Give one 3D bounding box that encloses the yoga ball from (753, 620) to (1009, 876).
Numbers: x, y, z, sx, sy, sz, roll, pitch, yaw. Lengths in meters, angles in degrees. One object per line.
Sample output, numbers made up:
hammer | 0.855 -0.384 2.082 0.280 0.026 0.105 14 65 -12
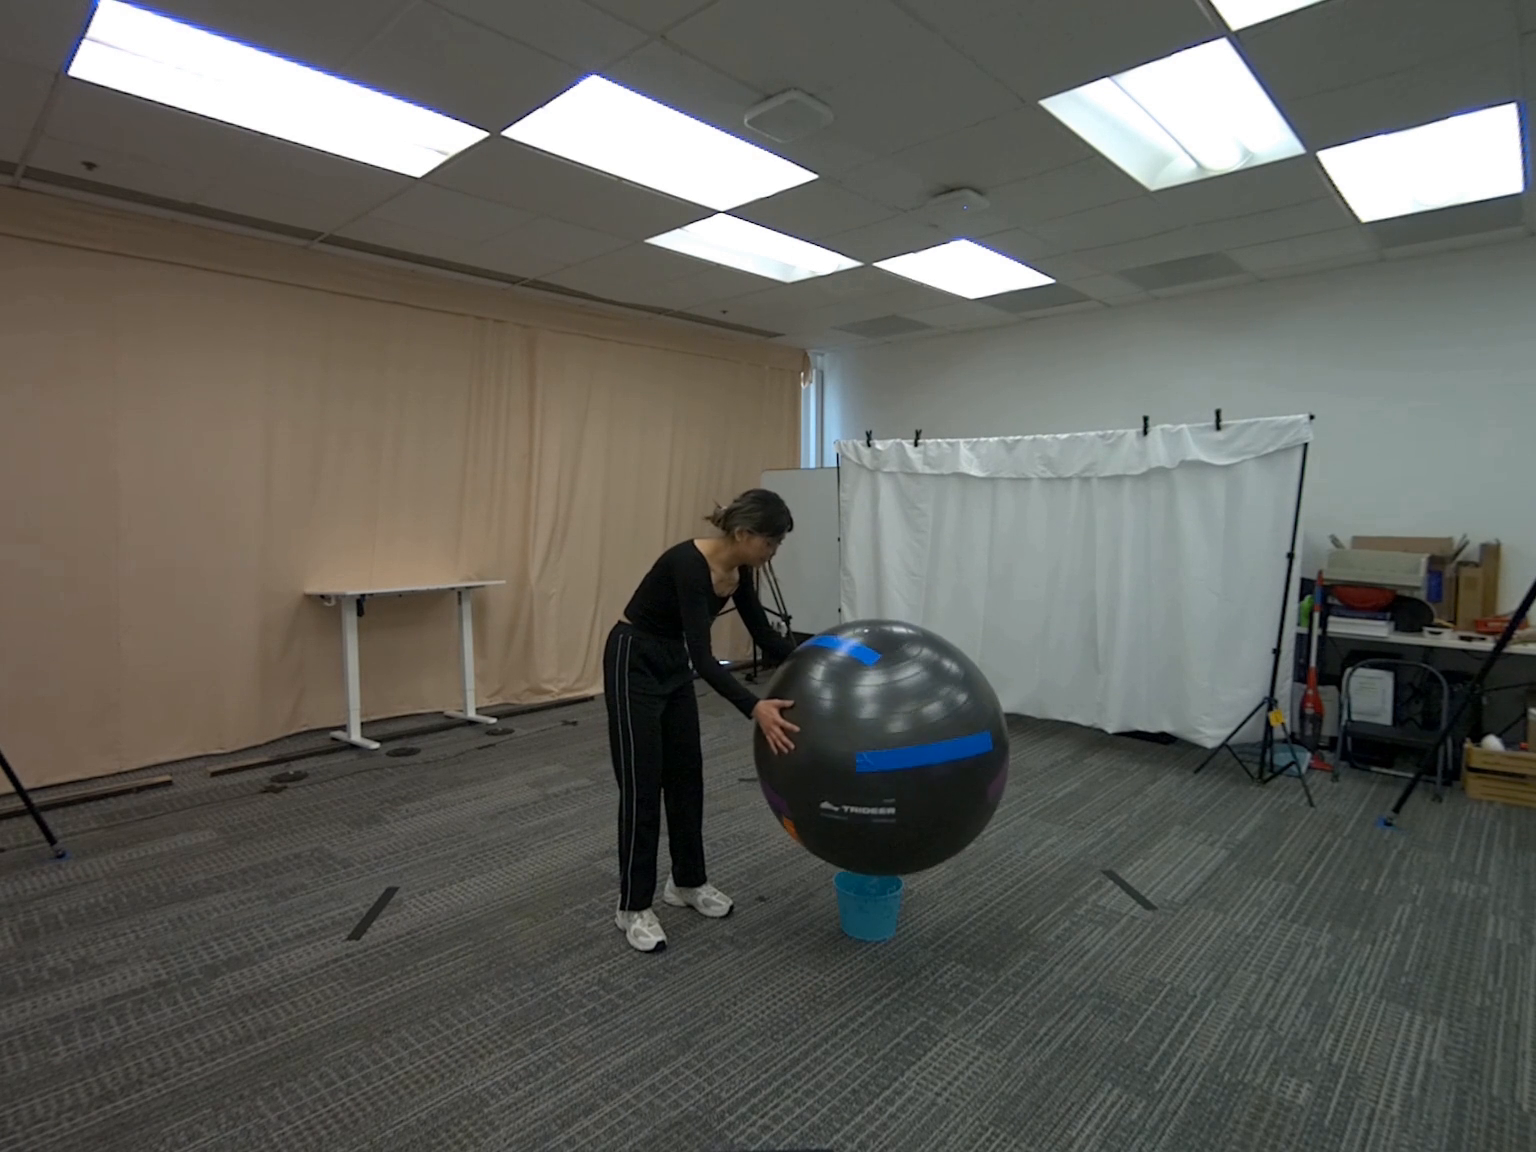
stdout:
yoga ball | 0.341 0.535 2.563 0.757 0.756 0.760 0 4 -2
